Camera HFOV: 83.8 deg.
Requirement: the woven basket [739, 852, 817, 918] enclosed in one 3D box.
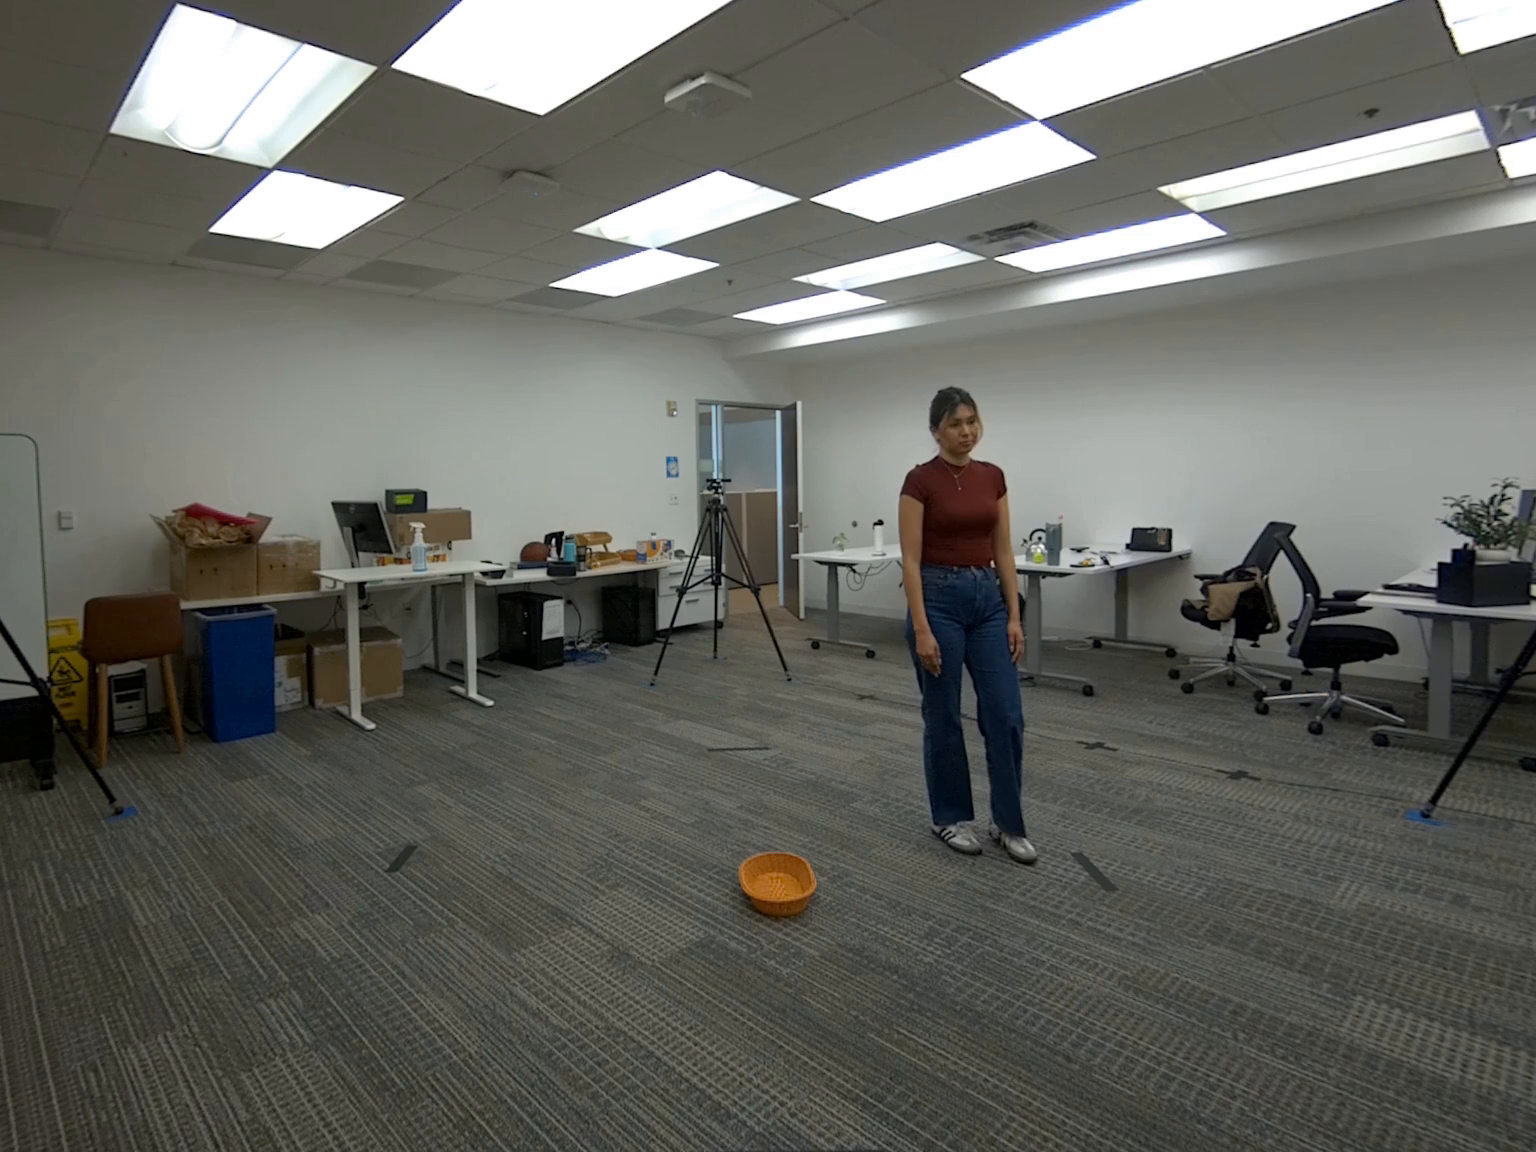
[{"bbox_3d":[0.034,1.034,2.863,0.251,0.073,0.353,-3,7,-5],"label":"woven basket"}]
